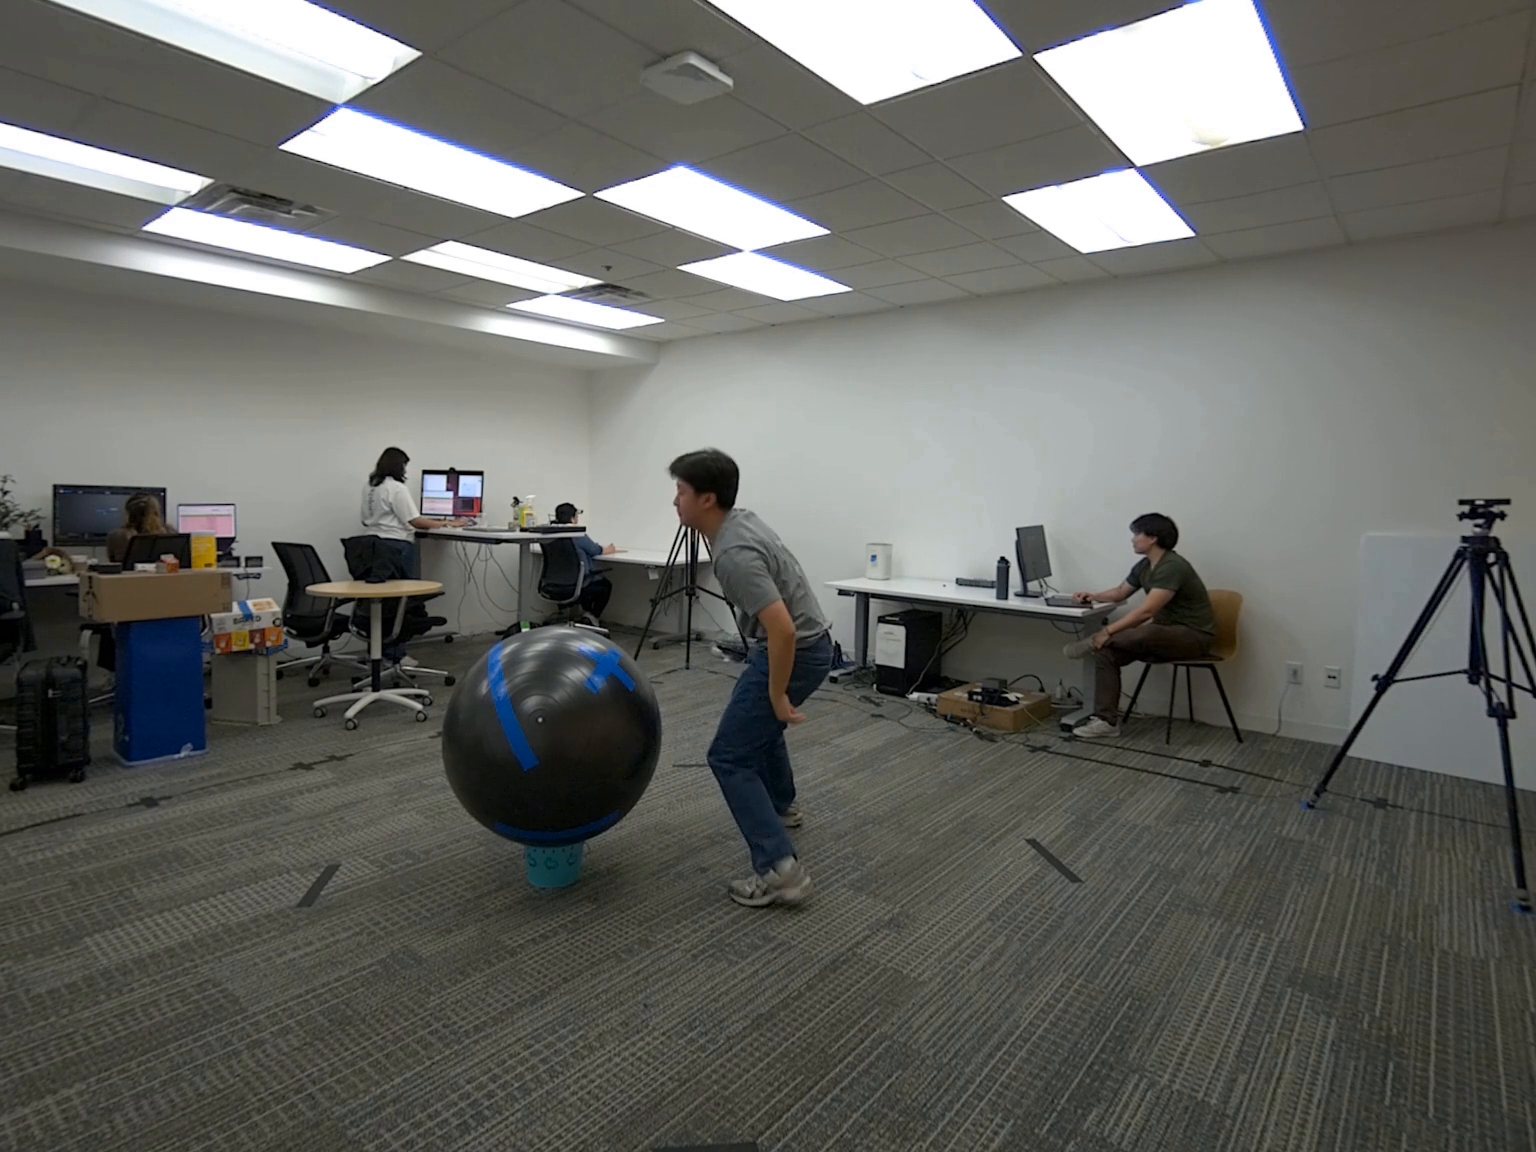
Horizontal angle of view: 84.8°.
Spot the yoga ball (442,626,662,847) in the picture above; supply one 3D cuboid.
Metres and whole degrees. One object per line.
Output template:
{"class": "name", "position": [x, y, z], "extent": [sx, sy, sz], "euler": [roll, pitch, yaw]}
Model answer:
{"class": "yoga ball", "position": [-0.777, 0.559, 3.013], "extent": [0.757, 0.756, 0.761], "euler": [1, 4, -2]}
